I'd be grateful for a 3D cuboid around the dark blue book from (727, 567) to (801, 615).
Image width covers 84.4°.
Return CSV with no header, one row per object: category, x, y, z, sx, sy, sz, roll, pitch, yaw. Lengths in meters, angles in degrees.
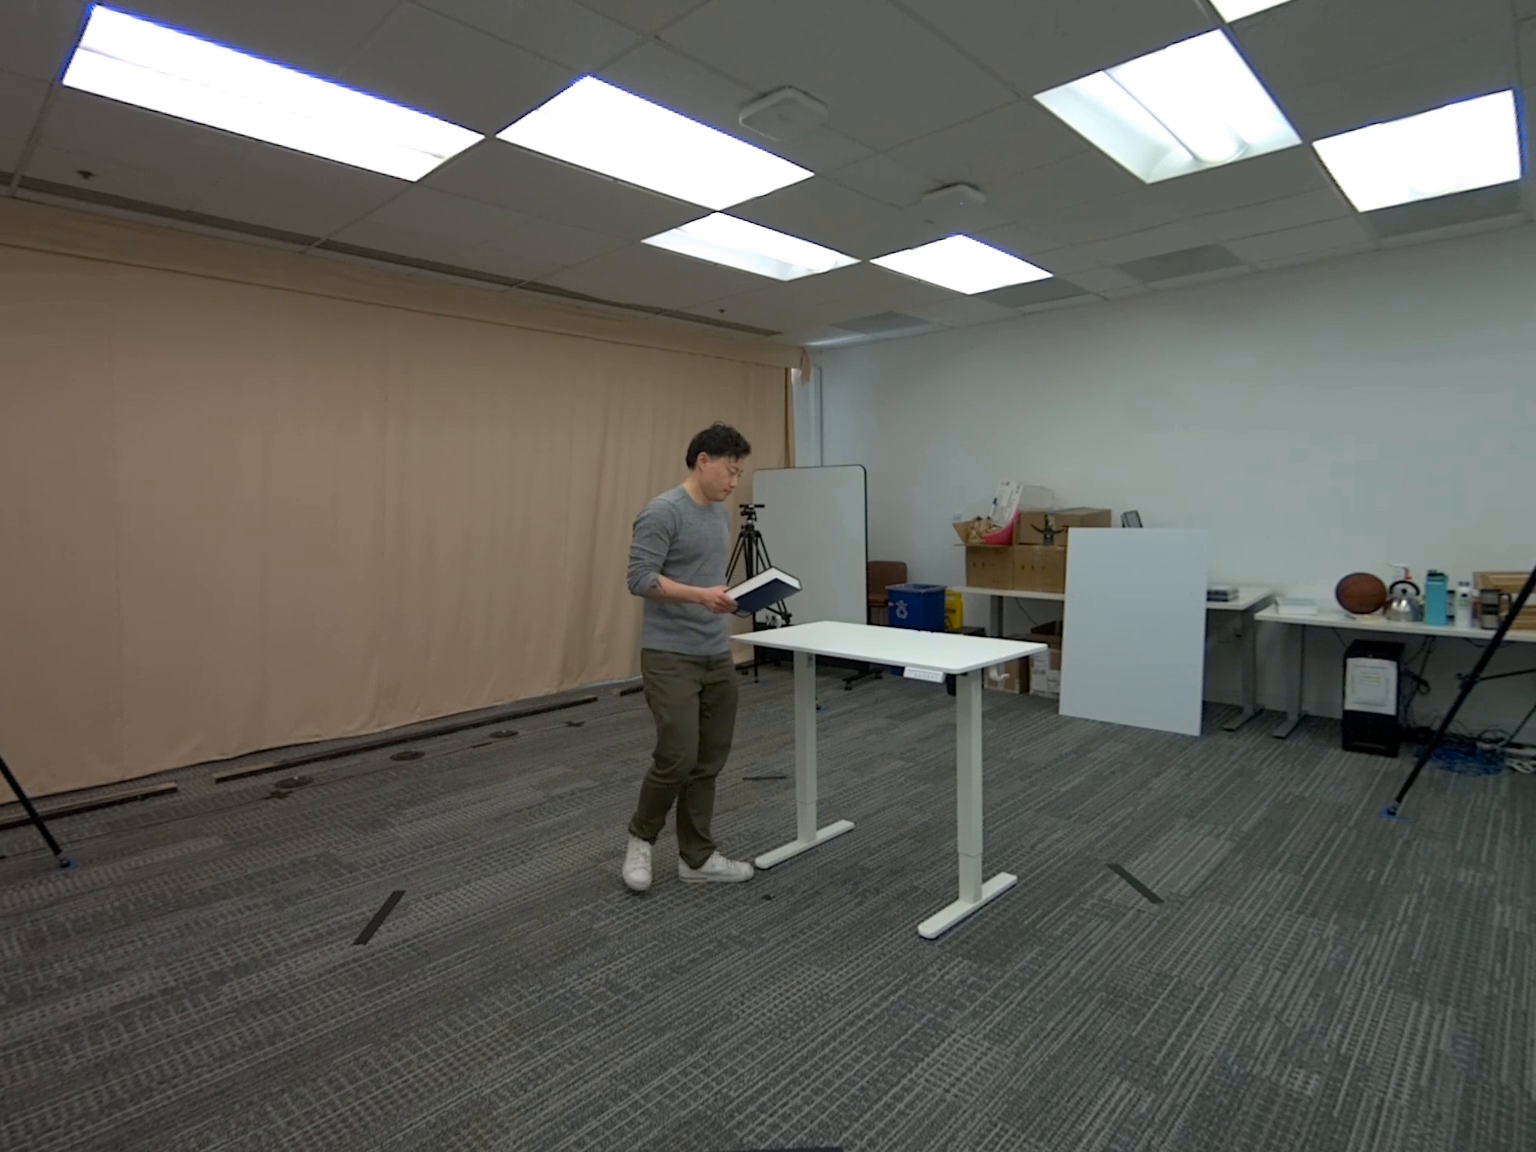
dark blue book,-0.034,0.063,2.802,0.249,0.046,0.157,-26,-31,25
